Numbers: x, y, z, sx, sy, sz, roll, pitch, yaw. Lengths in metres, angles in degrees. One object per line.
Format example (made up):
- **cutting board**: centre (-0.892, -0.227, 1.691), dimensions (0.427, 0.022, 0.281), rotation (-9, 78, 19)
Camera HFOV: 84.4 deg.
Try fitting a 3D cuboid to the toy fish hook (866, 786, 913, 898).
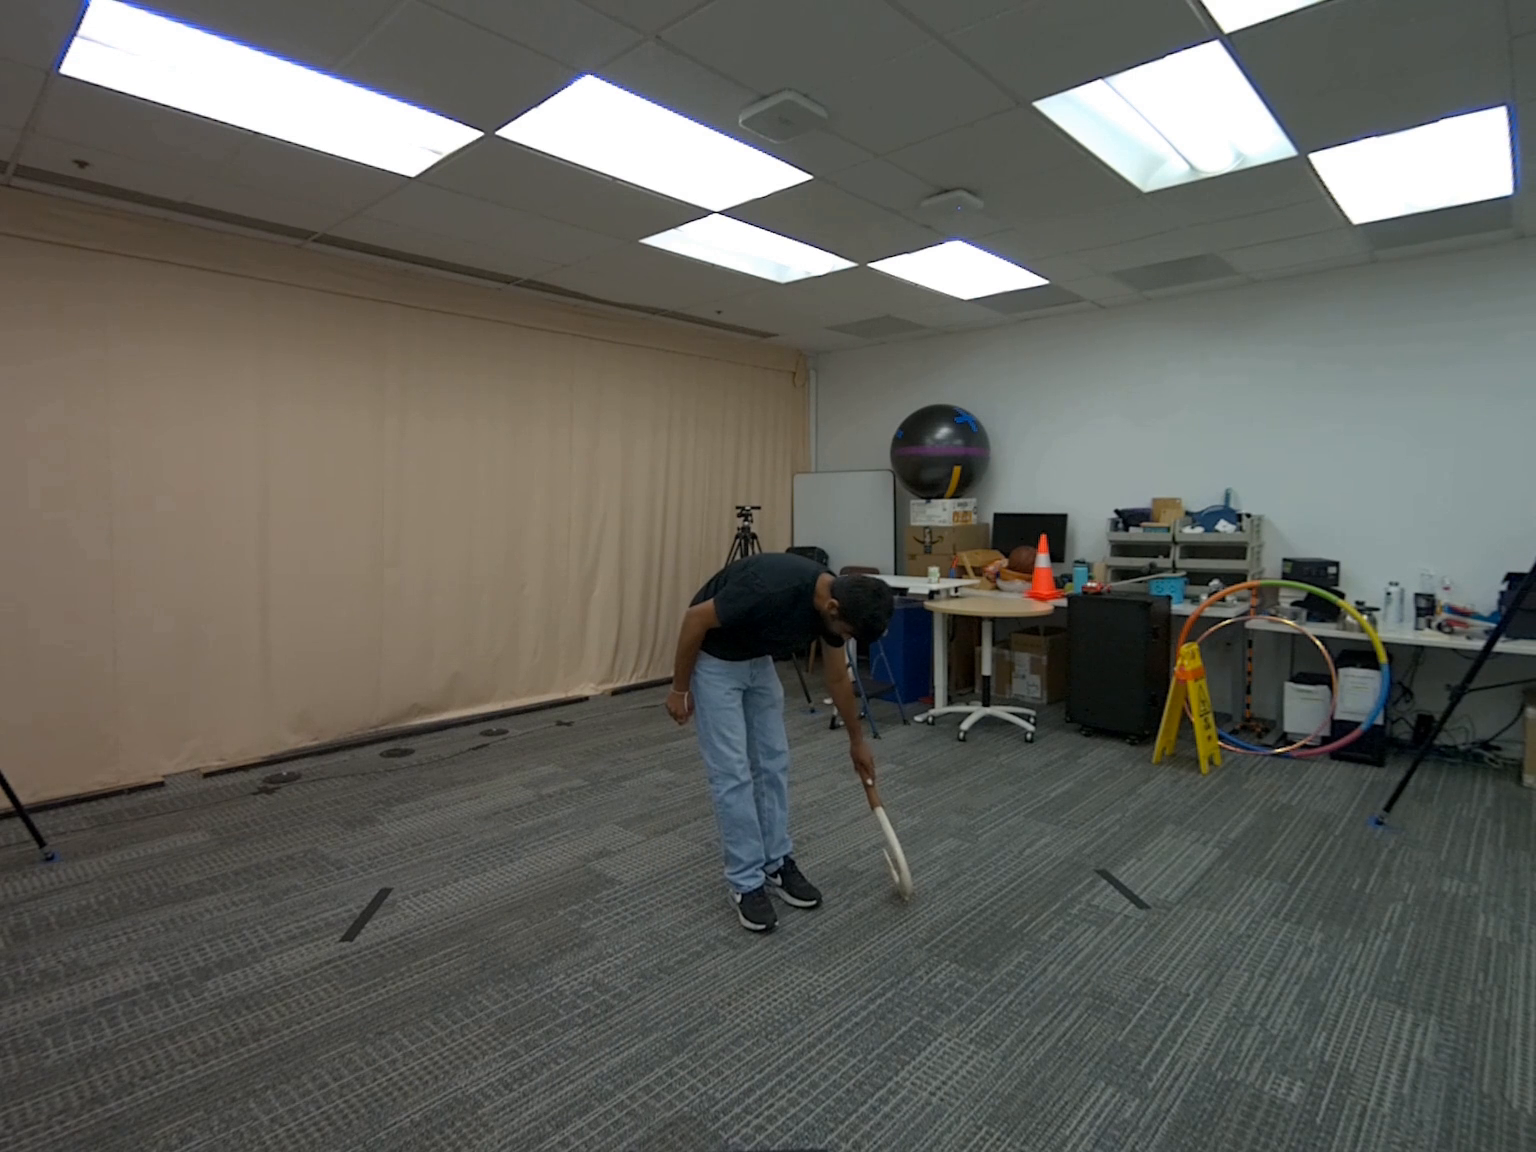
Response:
- **toy fish hook**: centre (0.419, 0.920, 3.082), dimensions (0.048, 0.520, 0.221), rotation (-10, -35, -12)
